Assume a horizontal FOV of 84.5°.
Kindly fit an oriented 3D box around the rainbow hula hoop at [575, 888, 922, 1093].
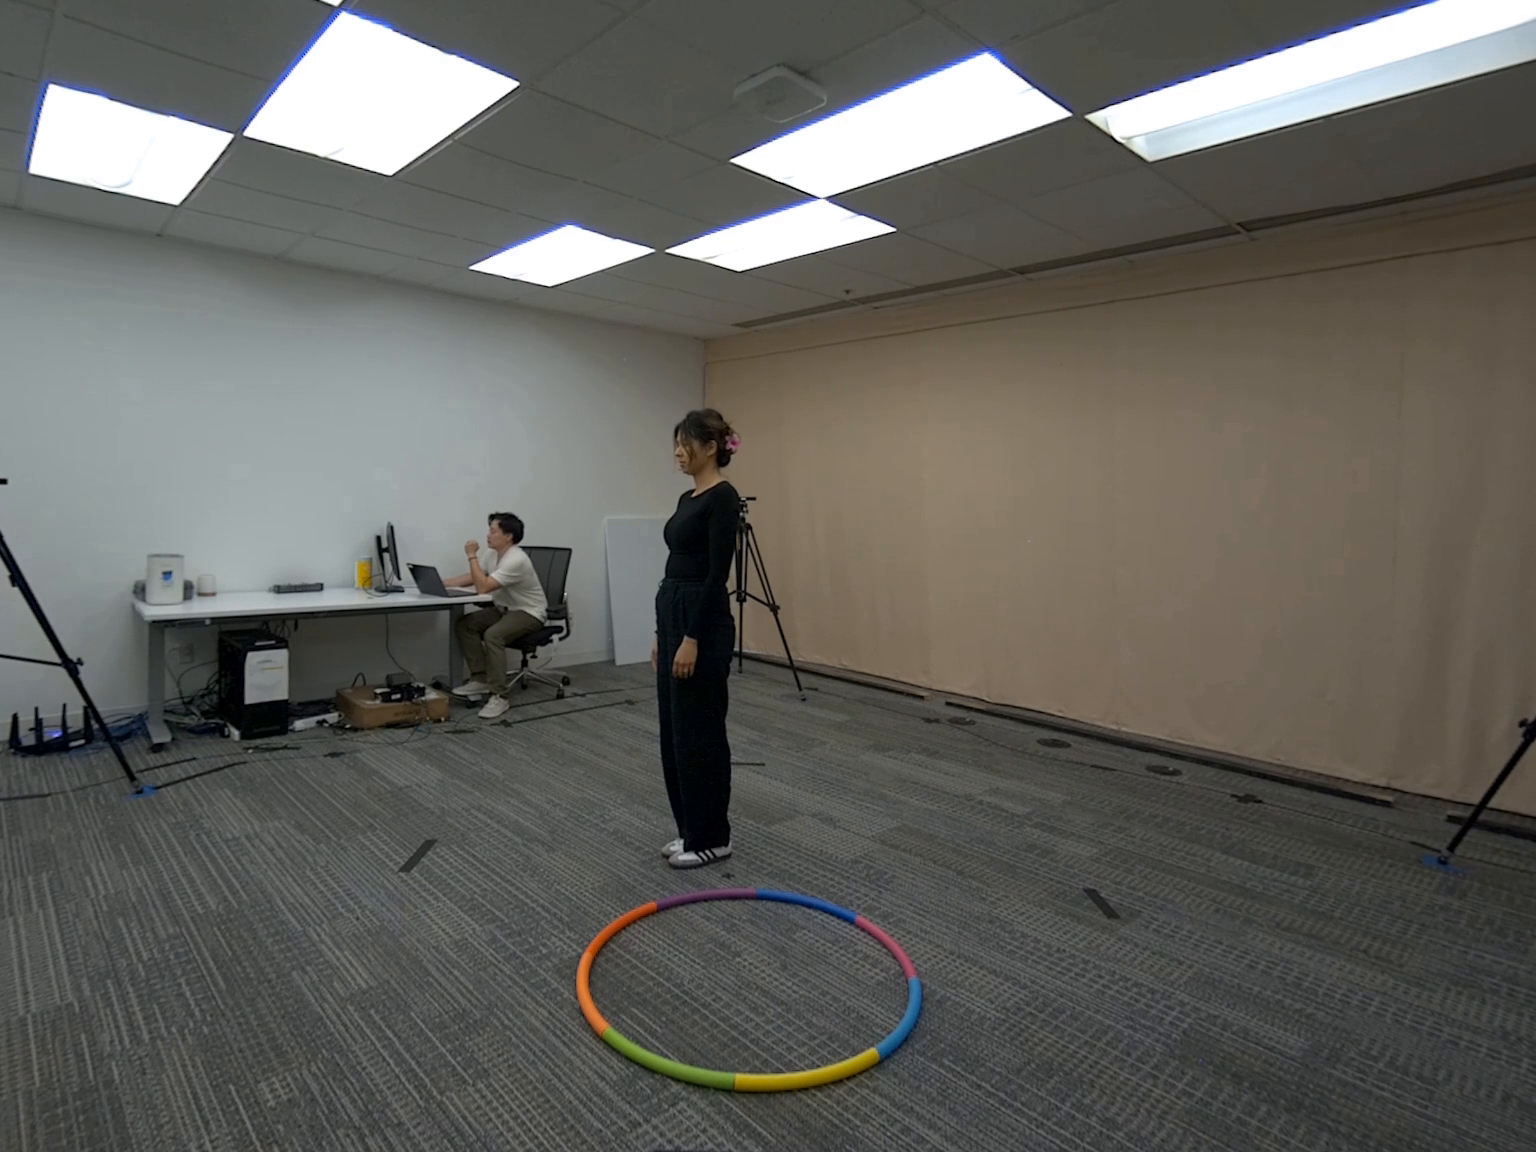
[{"bbox_3d":[-0.060,1.143,2.457,0.985,0.051,0.988,1,5,-1],"label":"rainbow hula hoop"}]
